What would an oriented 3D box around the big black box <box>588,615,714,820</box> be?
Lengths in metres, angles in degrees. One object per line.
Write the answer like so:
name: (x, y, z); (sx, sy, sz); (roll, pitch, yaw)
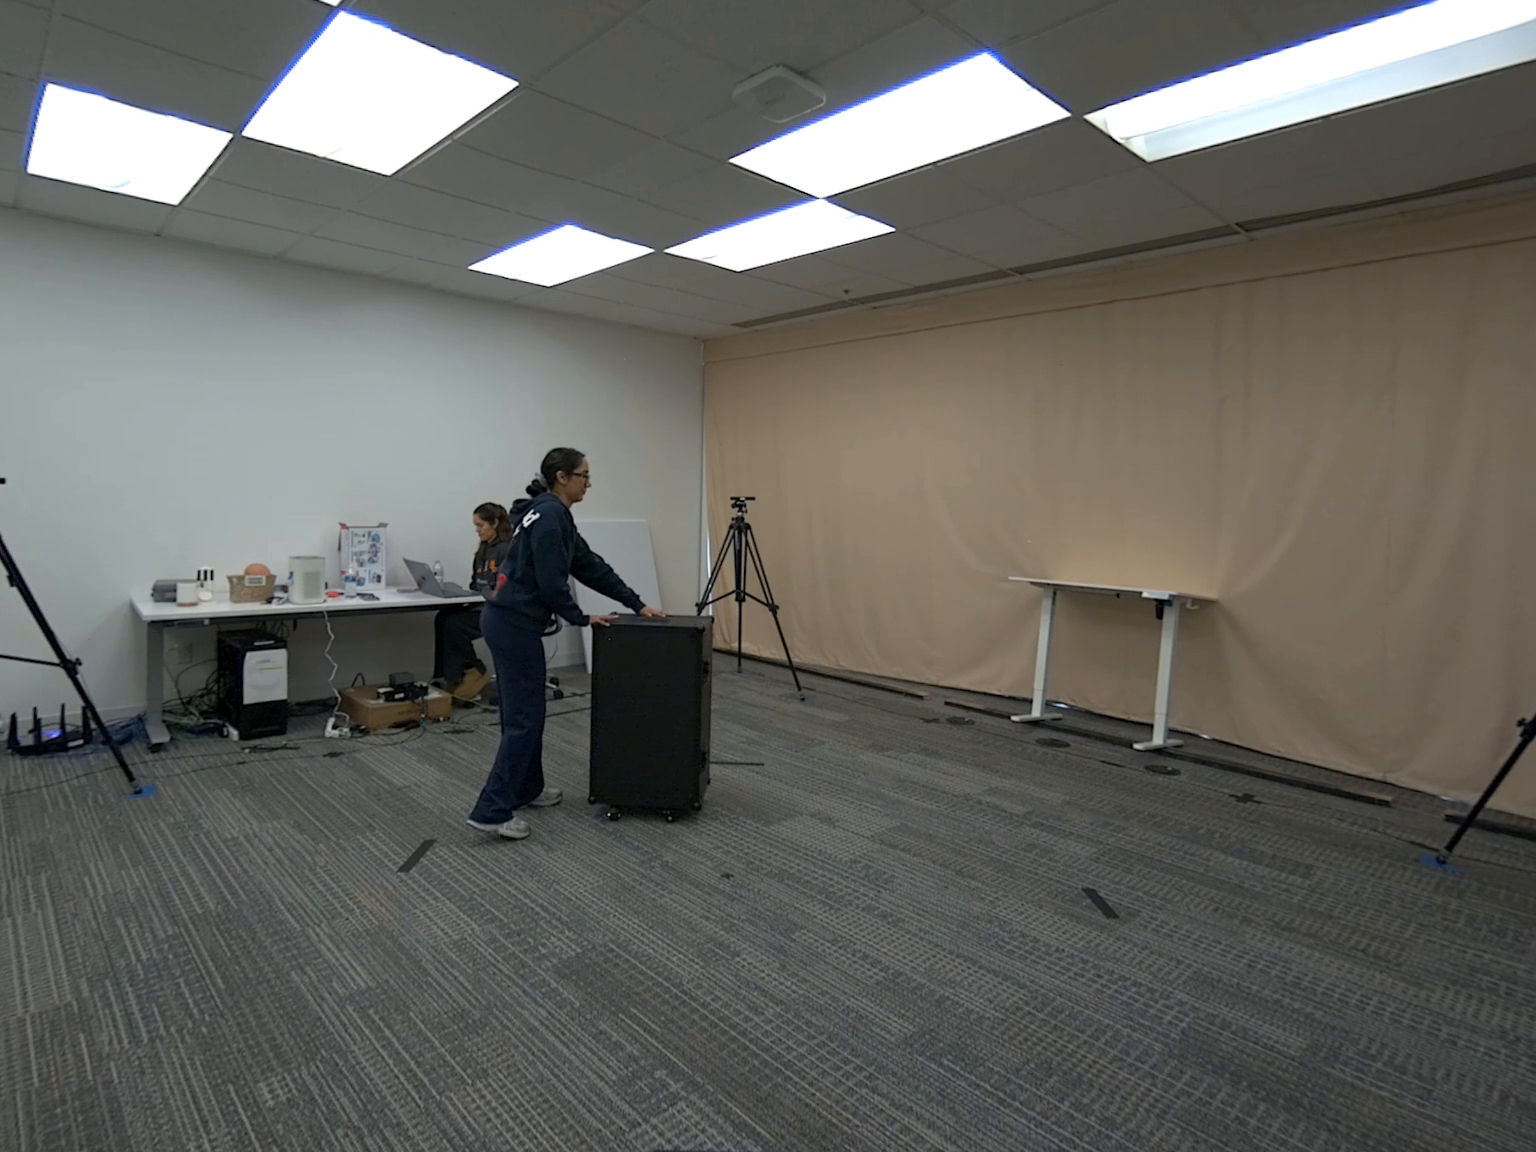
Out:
big black box: (-0.530, 0.613, 3.751); (0.524, 0.859, 0.395); (2, 3, 5)
